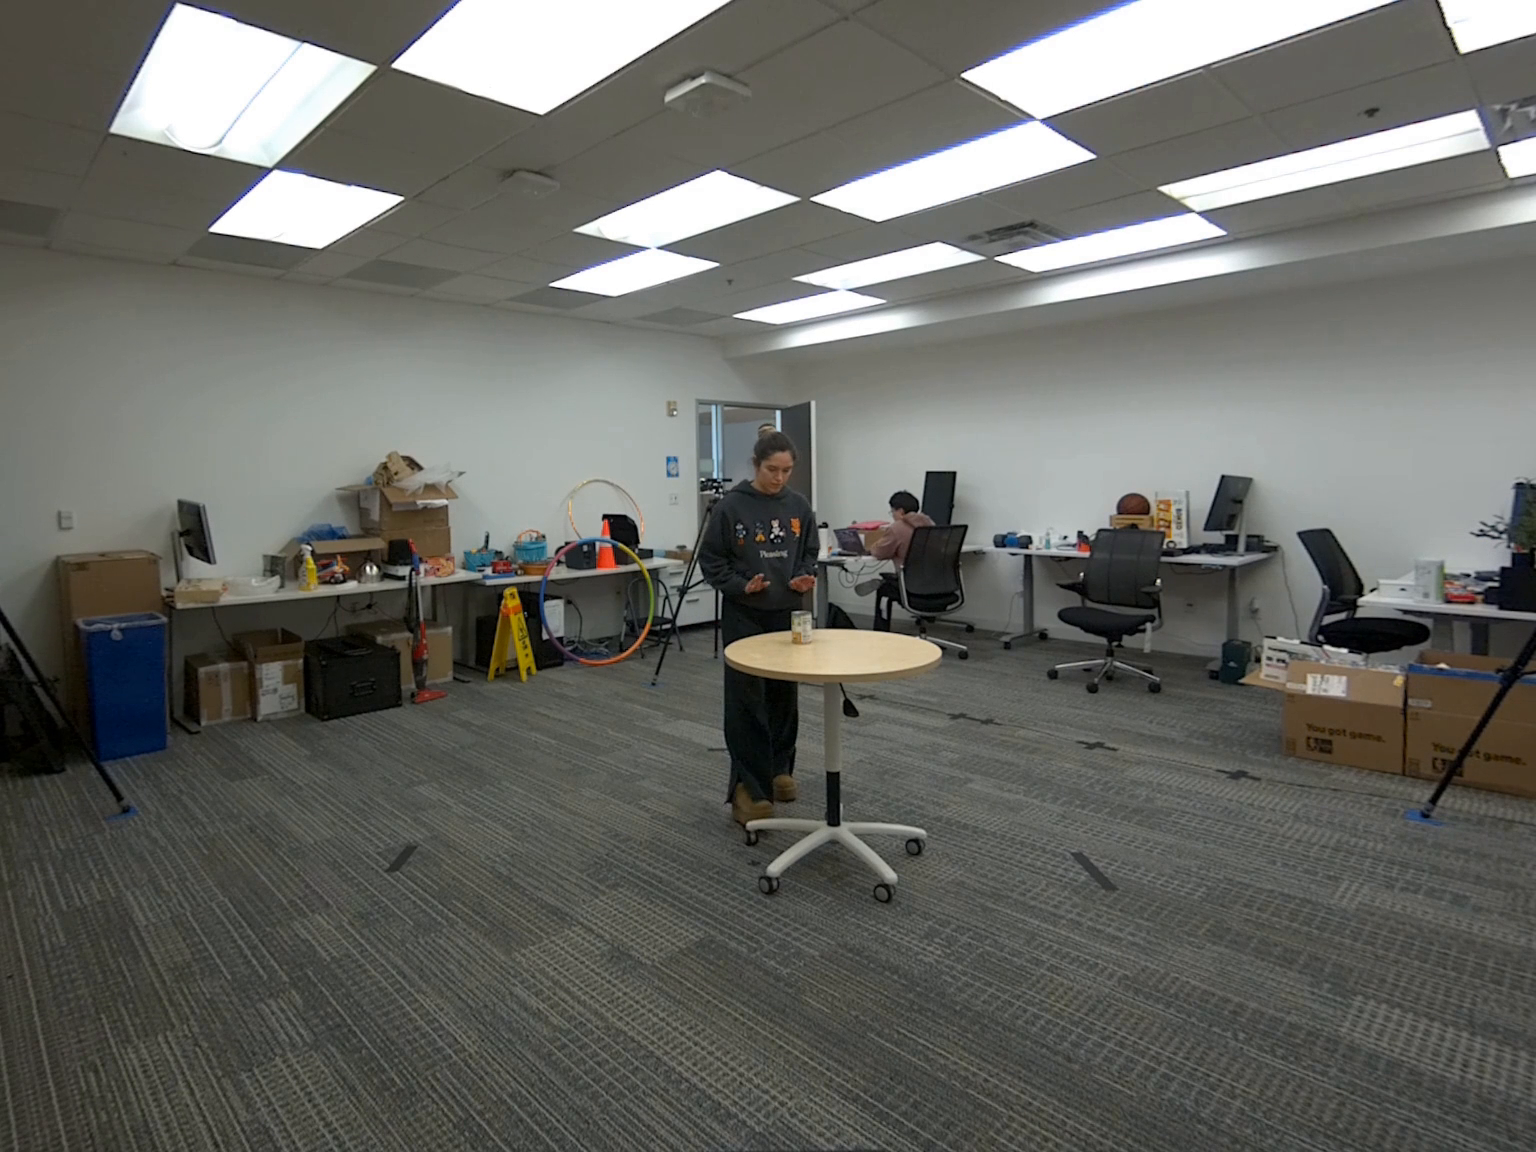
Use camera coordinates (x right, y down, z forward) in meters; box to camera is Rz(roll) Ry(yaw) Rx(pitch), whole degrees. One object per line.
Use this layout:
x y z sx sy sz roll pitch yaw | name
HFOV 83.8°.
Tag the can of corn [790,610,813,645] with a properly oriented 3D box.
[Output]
0.123 0.197 3.170 0.074 0.111 0.074 -1 4 -2 | can of corn
